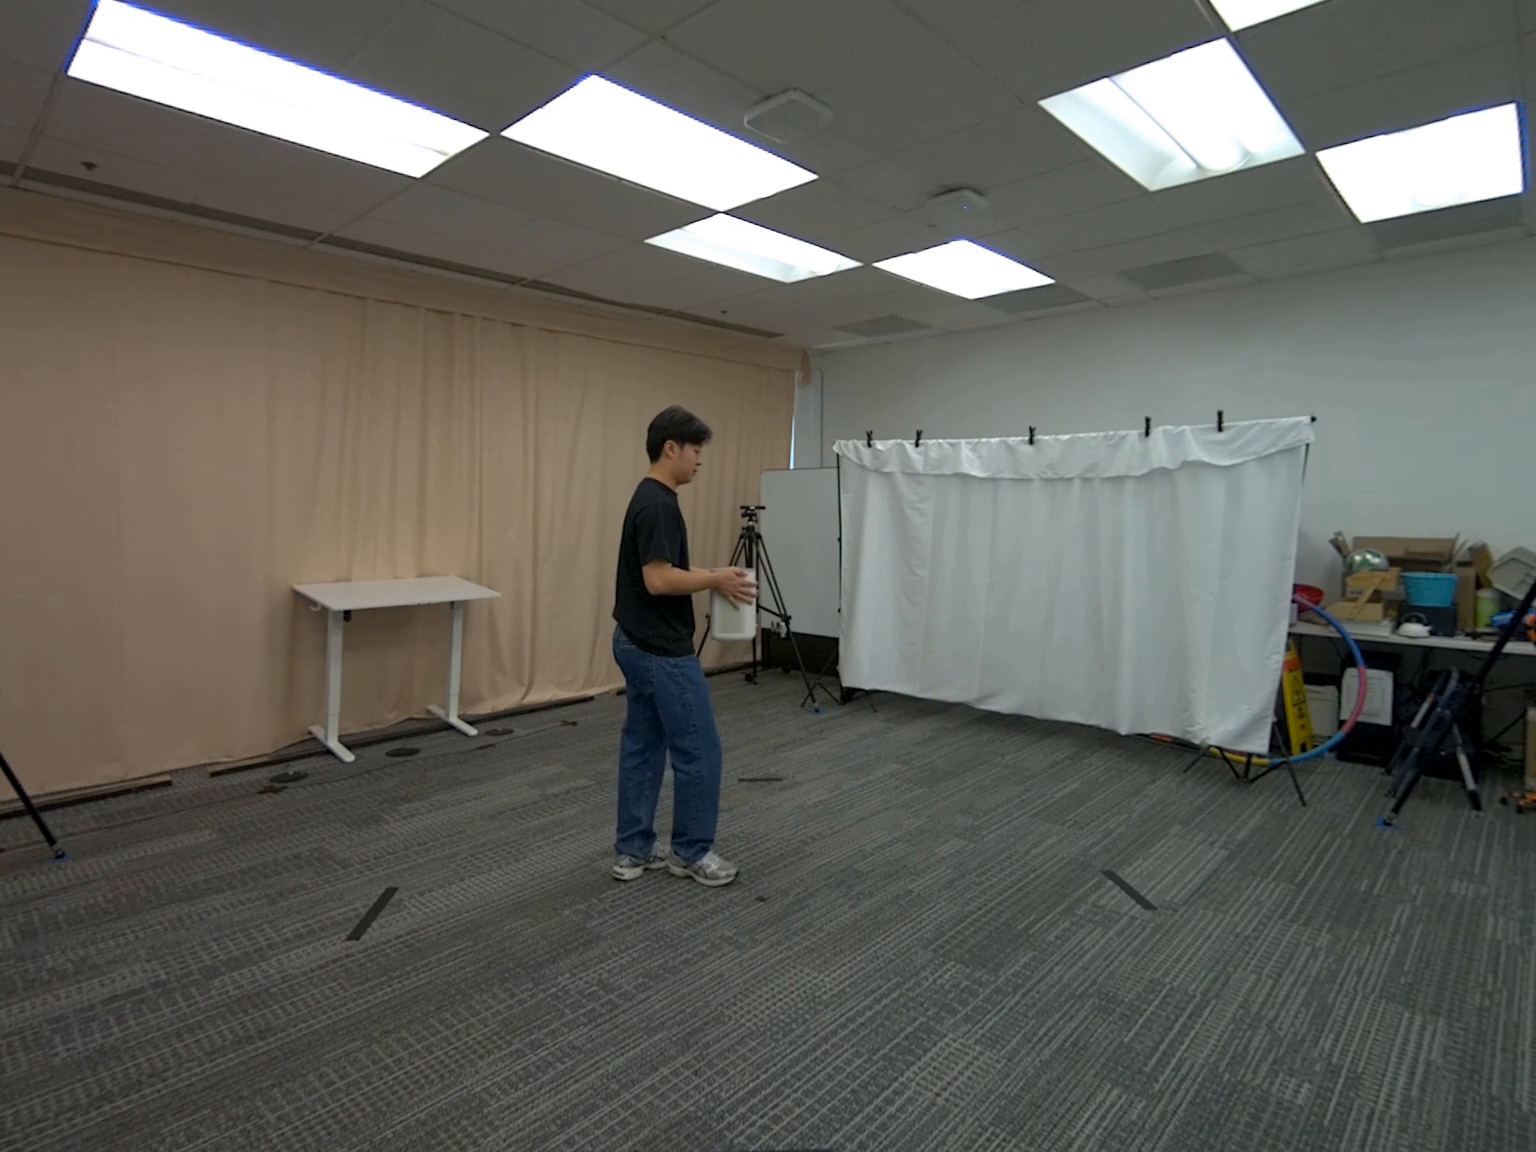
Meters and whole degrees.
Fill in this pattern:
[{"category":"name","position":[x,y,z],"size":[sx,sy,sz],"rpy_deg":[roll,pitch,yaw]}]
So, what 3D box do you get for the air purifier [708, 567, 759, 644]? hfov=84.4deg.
[{"category":"air purifier","position":[-0.131,0.103,3.160],"size":[0.172,0.265,0.170],"rpy_deg":[-1,2,4]}]
